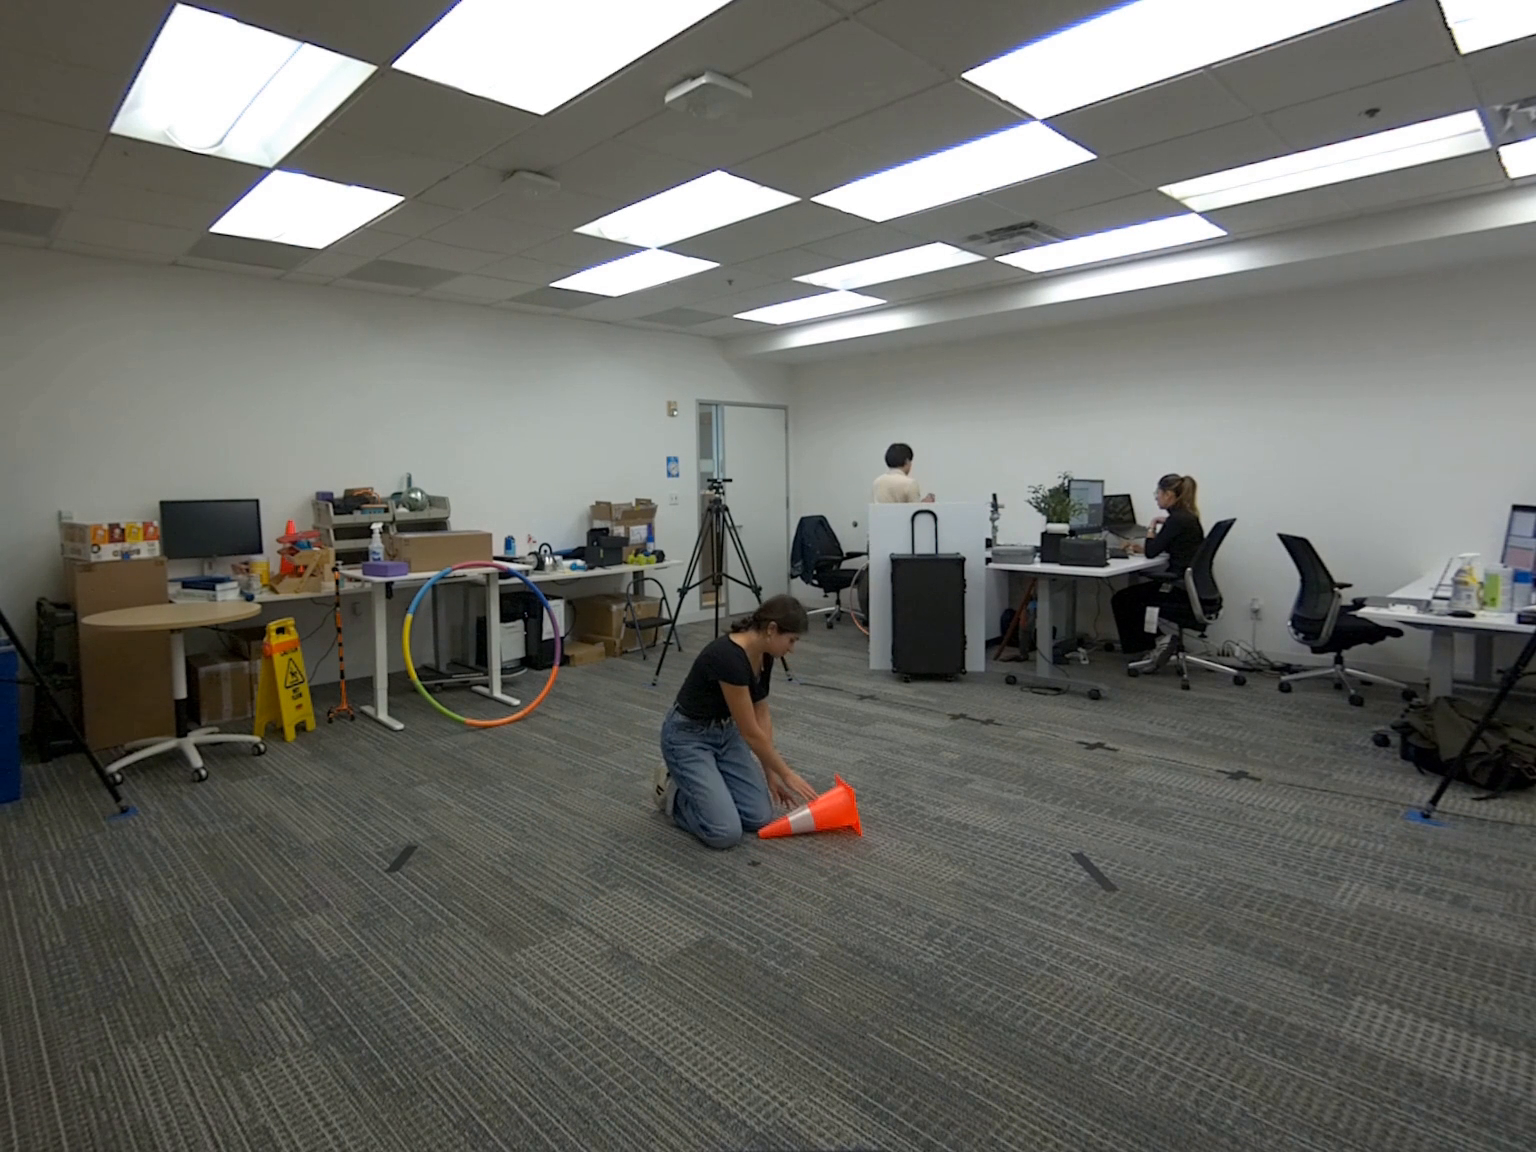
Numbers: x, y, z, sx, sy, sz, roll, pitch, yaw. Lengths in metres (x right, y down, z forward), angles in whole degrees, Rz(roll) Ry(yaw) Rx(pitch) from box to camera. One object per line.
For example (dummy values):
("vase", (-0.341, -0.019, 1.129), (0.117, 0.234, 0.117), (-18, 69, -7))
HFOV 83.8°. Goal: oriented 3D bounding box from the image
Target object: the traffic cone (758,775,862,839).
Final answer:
("traffic cone", (0.140, 0.957, 3.361), (0.380, 0.203, 0.207), (-16, 10, -12))
